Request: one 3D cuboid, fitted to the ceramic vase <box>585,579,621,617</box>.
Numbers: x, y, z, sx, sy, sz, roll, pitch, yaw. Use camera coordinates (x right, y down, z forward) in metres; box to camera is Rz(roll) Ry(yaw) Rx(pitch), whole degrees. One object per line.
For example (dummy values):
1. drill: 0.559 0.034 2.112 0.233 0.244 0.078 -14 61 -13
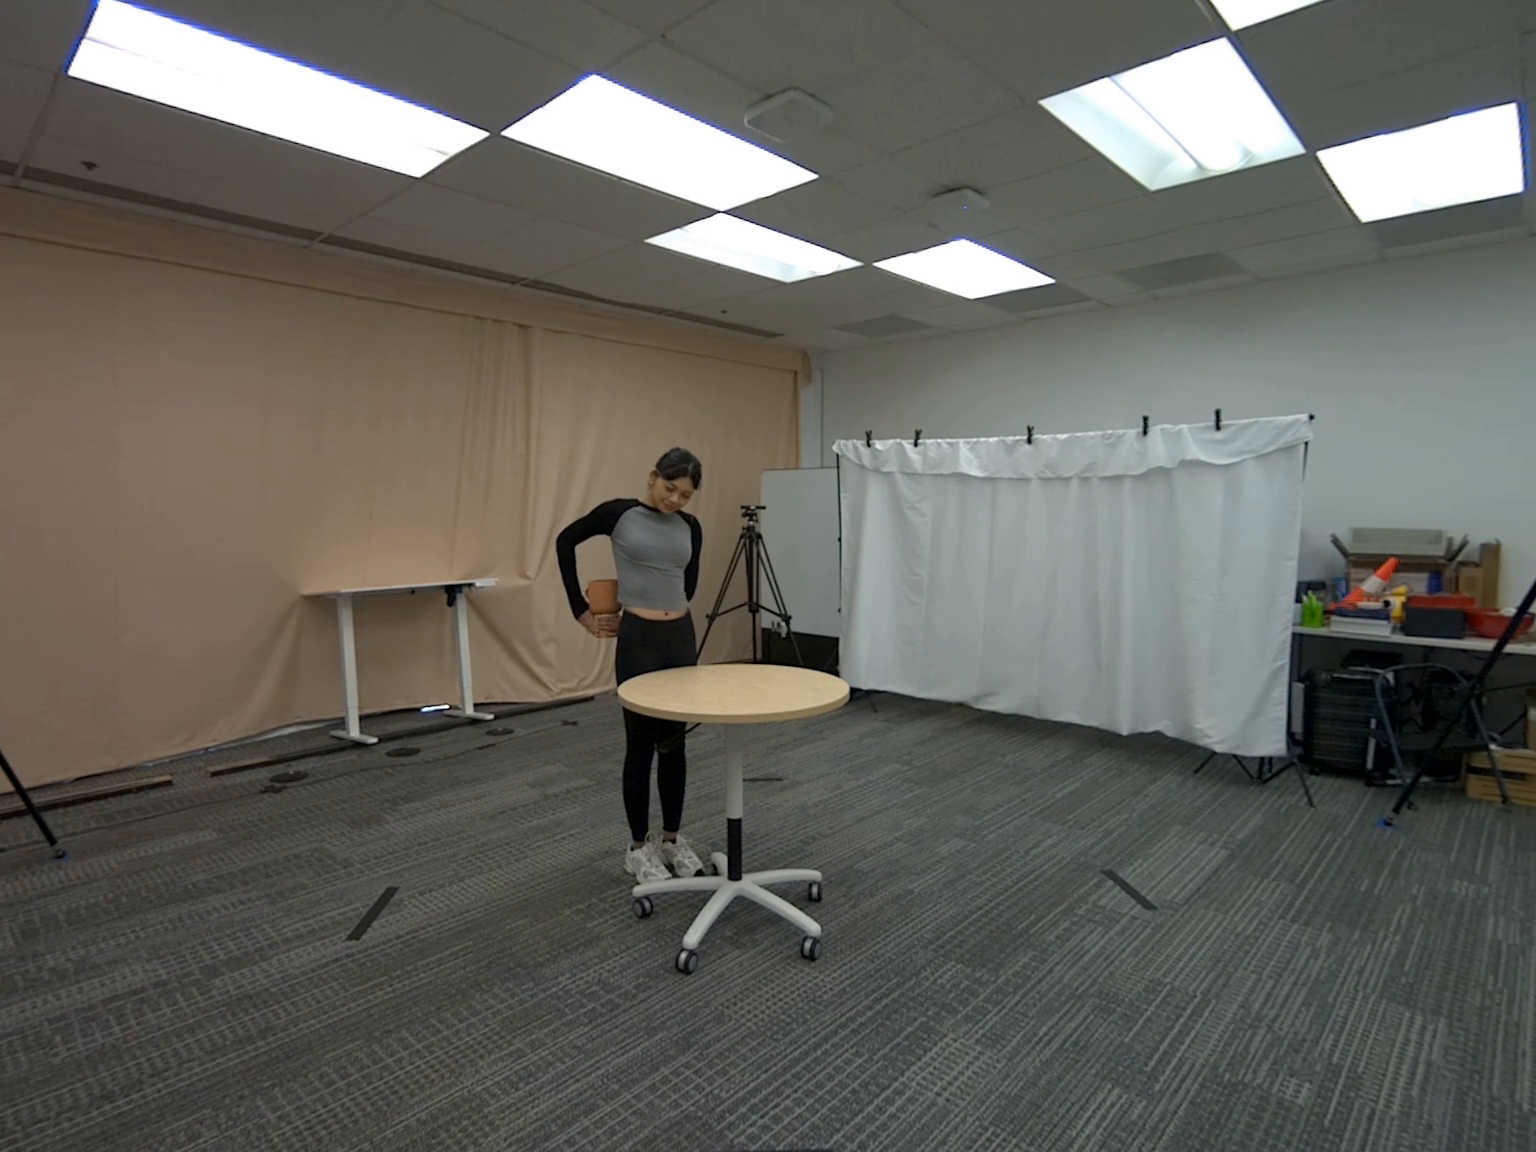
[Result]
1. ceramic vase: -0.624 0.126 3.291 0.163 0.220 0.130 -5 -2 40
